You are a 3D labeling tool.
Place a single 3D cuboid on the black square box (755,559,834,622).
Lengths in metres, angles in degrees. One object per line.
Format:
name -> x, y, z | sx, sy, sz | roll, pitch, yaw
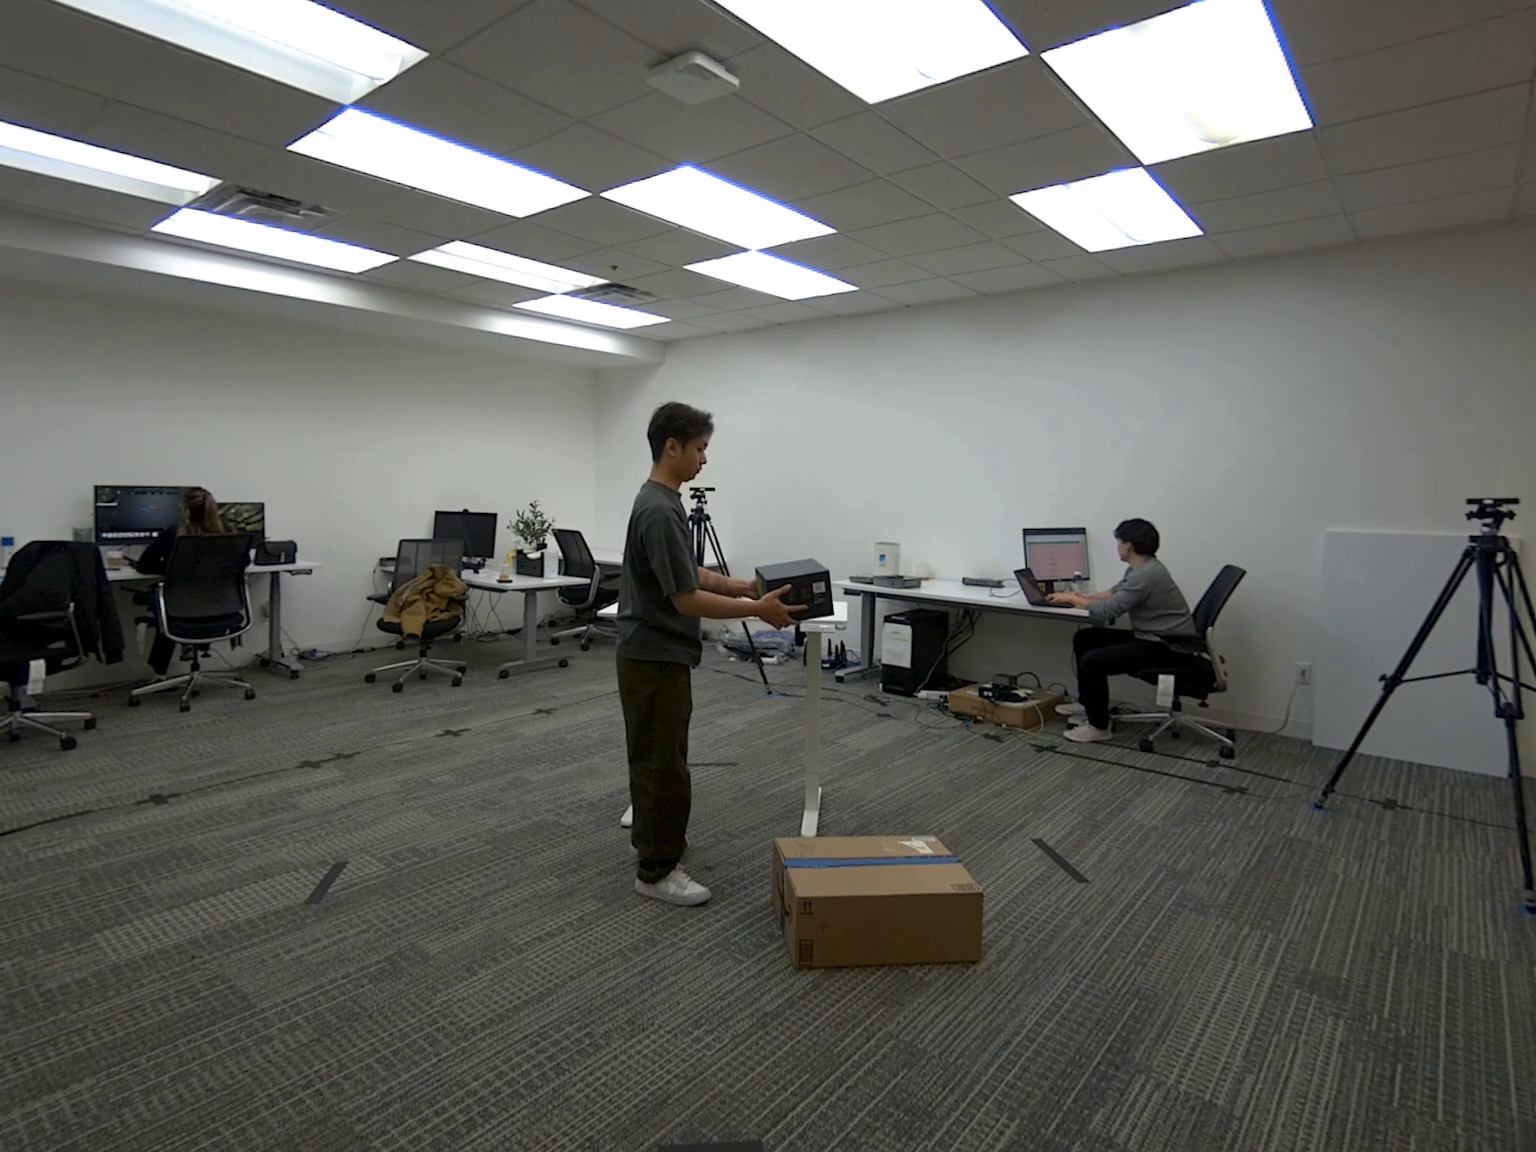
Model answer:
black square box -> 0.071, 0.047, 2.883 | 0.215, 0.154, 0.232 | -7, 12, -10
